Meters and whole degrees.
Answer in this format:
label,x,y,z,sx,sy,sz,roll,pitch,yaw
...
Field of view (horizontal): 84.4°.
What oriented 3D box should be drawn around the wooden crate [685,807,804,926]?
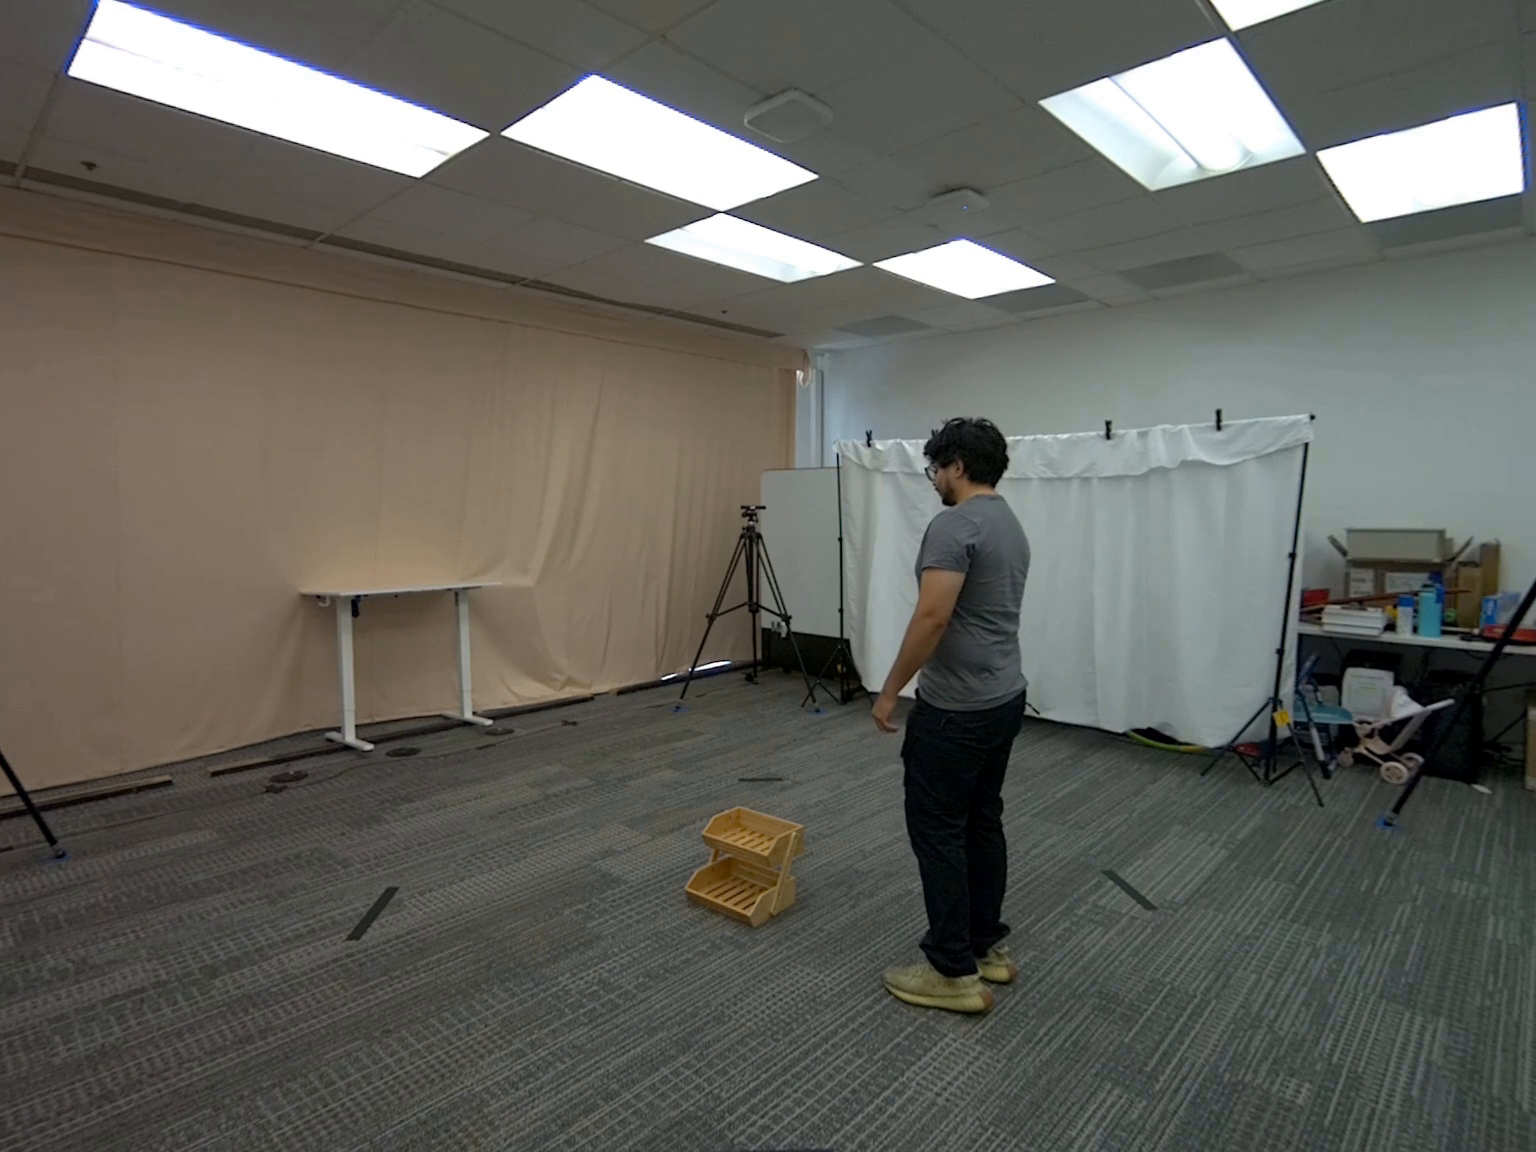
label,x,y,z,sx,sy,sz,roll,pitch,yaw
wooden crate,-0.081,1.012,2.967,0.335,0.273,0.293,3,5,40
